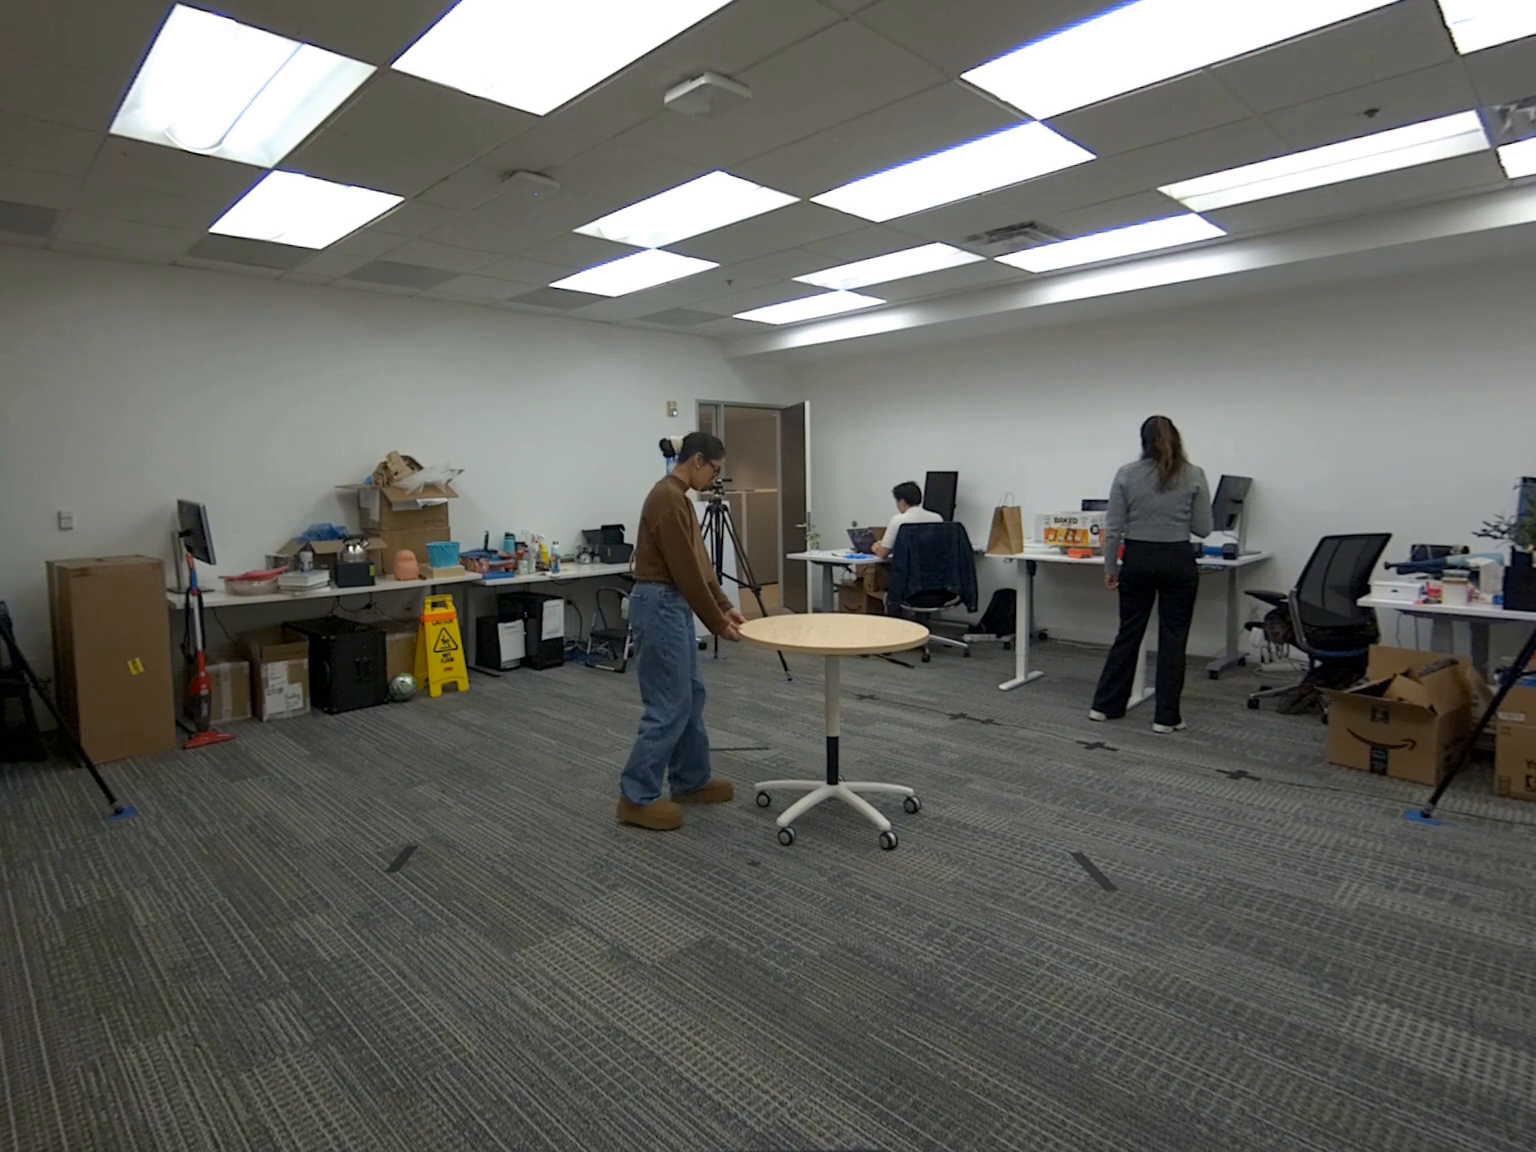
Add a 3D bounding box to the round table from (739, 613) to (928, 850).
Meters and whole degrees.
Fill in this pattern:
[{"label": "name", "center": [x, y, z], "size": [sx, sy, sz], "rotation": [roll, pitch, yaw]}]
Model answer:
[{"label": "round table", "center": [0.264, 0.608, 3.490], "size": [0.763, 0.791, 0.768], "rotation": [-1, 5, -2]}]
